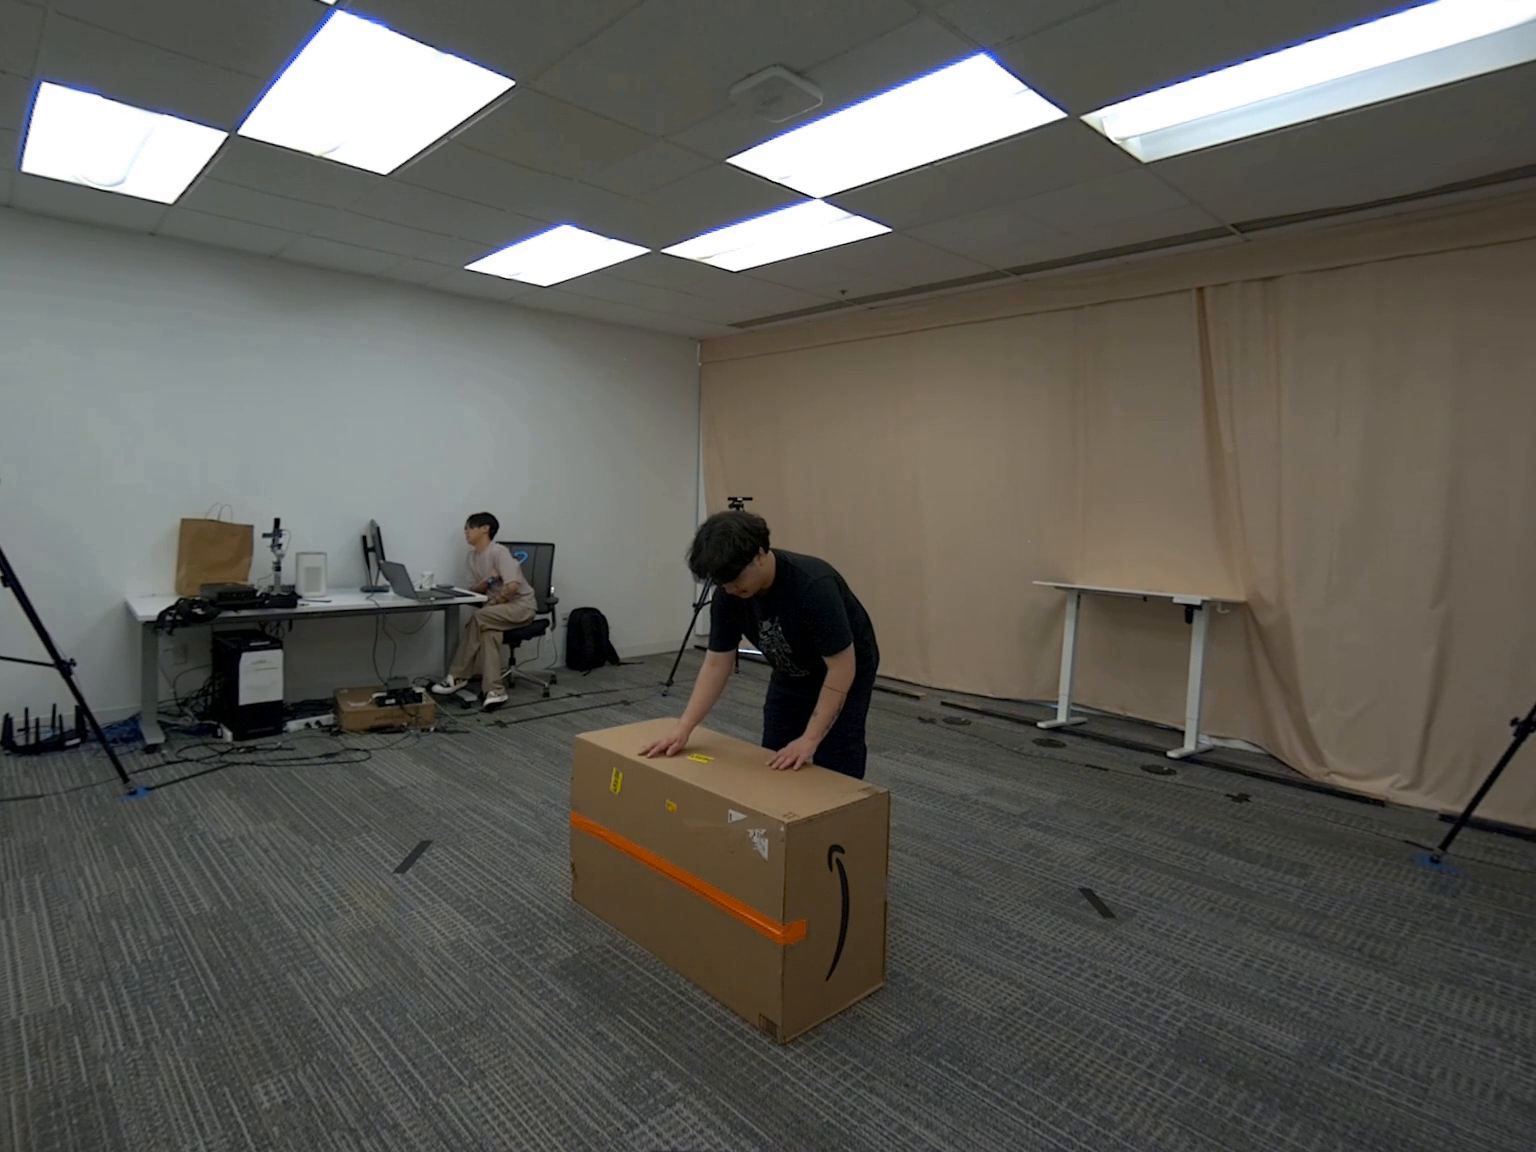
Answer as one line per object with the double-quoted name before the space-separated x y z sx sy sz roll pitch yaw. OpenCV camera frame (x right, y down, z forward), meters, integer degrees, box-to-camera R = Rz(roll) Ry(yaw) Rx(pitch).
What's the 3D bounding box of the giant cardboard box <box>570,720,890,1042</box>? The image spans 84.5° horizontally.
"giant cardboard box" -0.174 0.865 2.640 0.437 0.582 1.053 -3 6 -43
